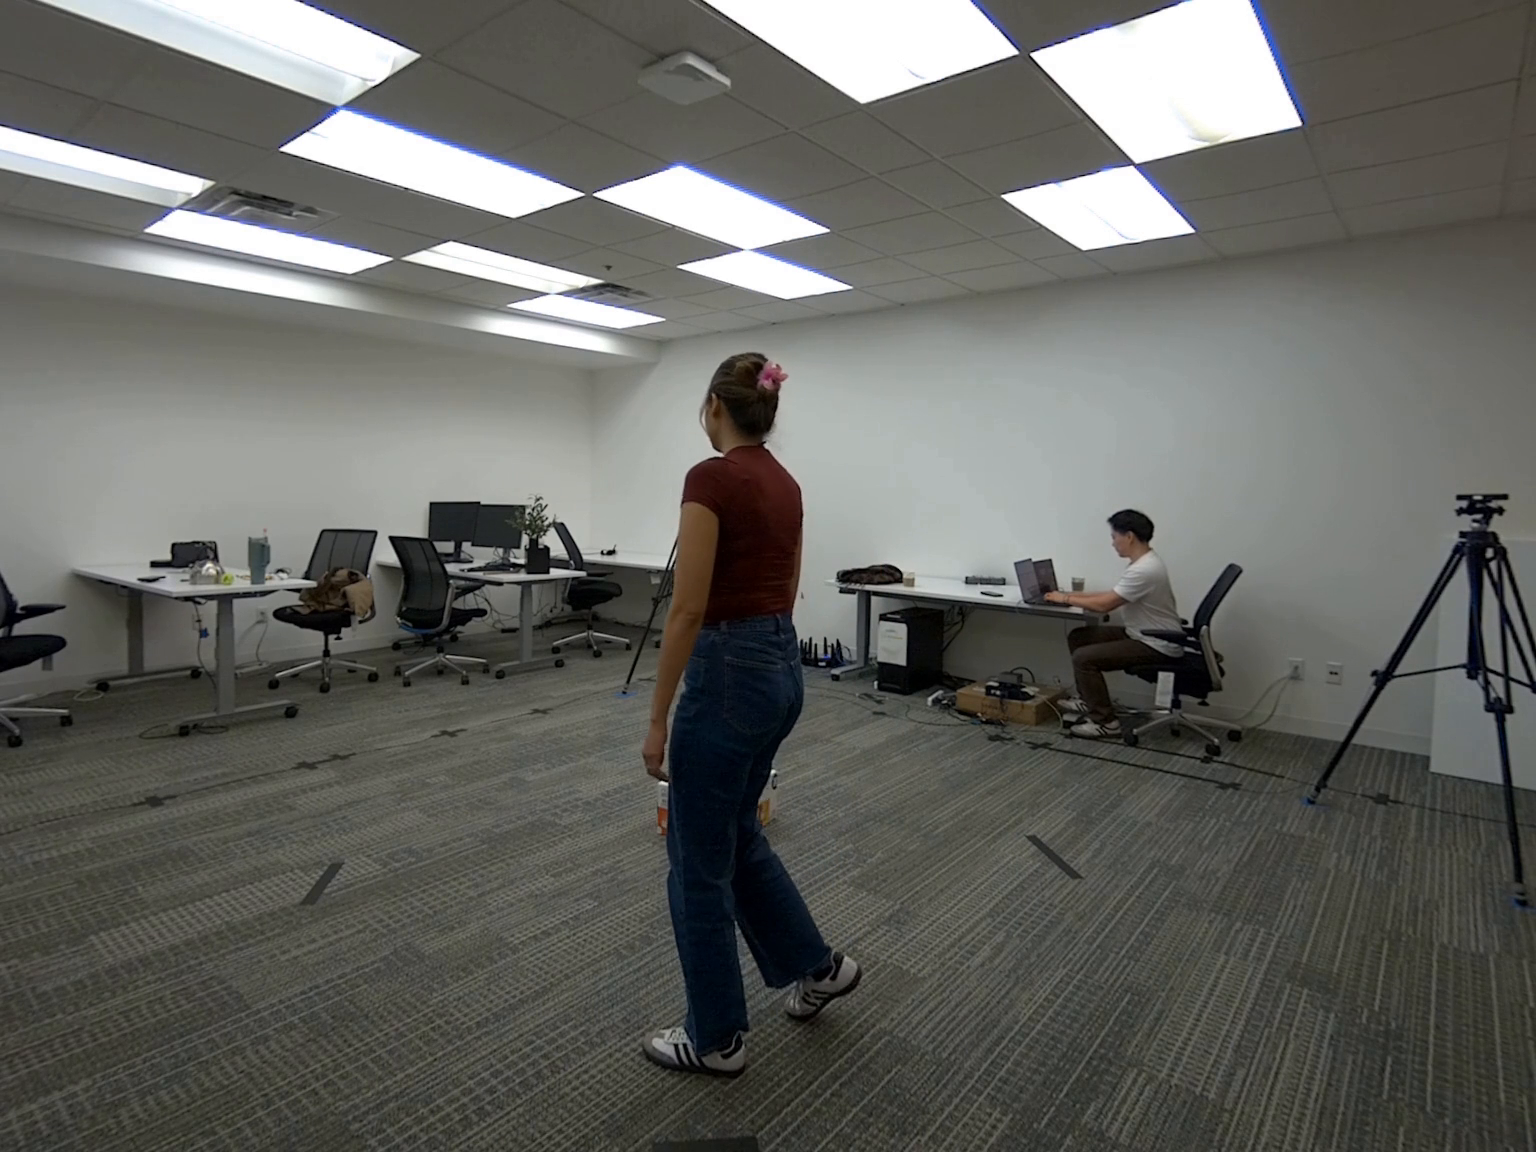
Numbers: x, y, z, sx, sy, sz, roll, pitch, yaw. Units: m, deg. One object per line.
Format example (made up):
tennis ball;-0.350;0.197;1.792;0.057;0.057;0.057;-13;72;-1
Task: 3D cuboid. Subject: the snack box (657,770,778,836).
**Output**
snack box;-0.212;0.919;3.494;0.350;0.205;0.395;4;6;29
